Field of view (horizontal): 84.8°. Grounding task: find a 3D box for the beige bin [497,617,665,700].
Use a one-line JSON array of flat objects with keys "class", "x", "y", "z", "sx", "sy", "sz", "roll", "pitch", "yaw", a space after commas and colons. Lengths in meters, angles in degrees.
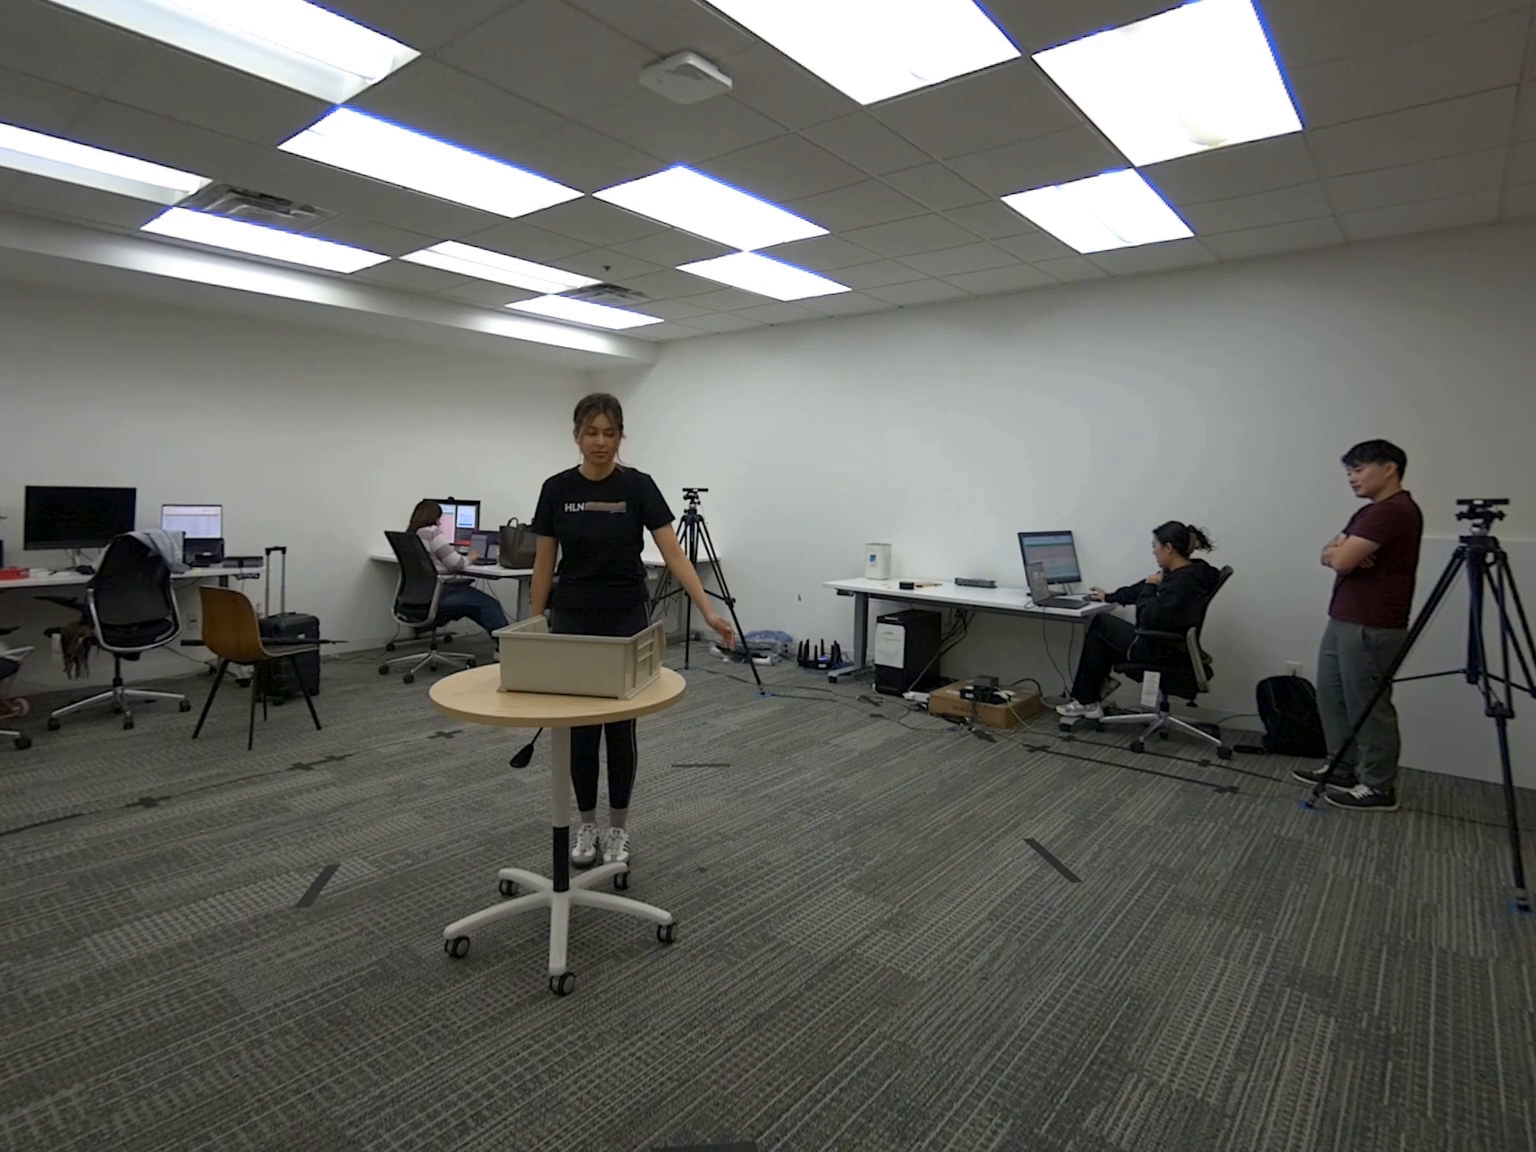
[{"class": "beige bin", "x": -0.578, "y": 0.236, "z": 2.616, "sx": 0.428, "sy": 0.188, "sz": 0.375, "roll": 2, "pitch": 7, "yaw": 11}]
